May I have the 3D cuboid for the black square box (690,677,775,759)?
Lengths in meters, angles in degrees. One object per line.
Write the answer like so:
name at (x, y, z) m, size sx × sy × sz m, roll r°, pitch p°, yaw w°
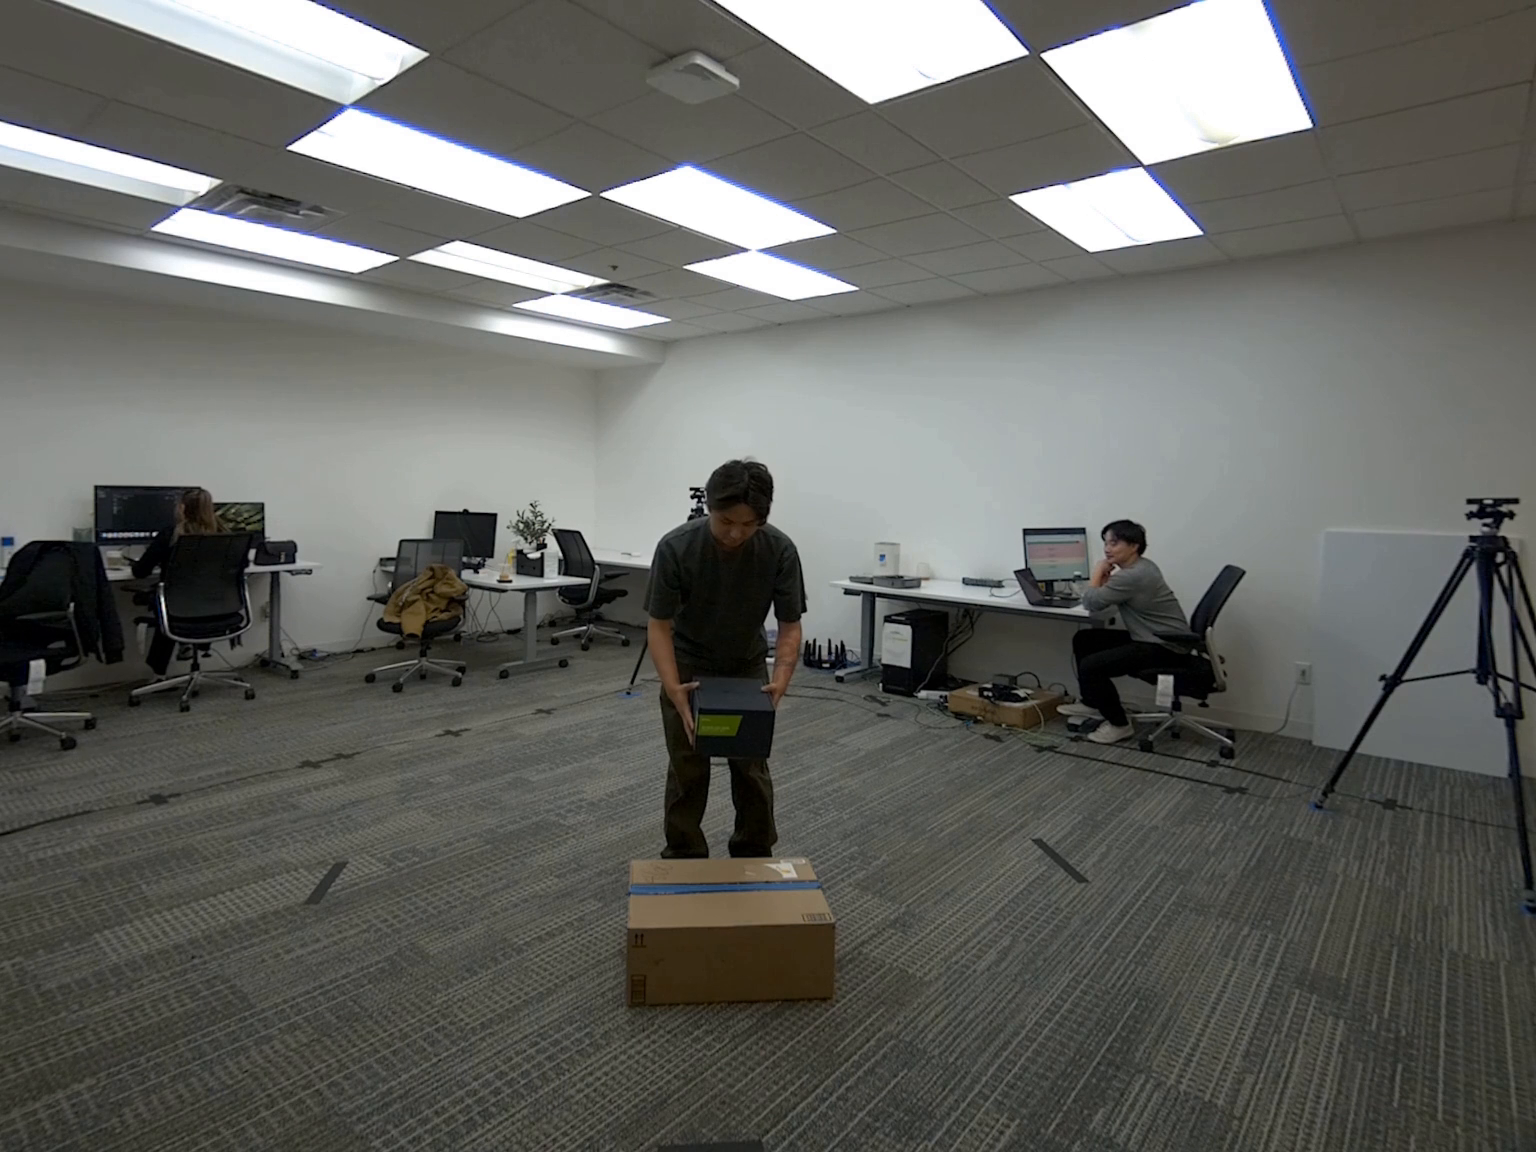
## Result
black square box at (-0.127, 0.419, 2.573) m, size 0.225 × 0.154 × 0.222 m, roll 5°, pitch 17°, yaw -10°
